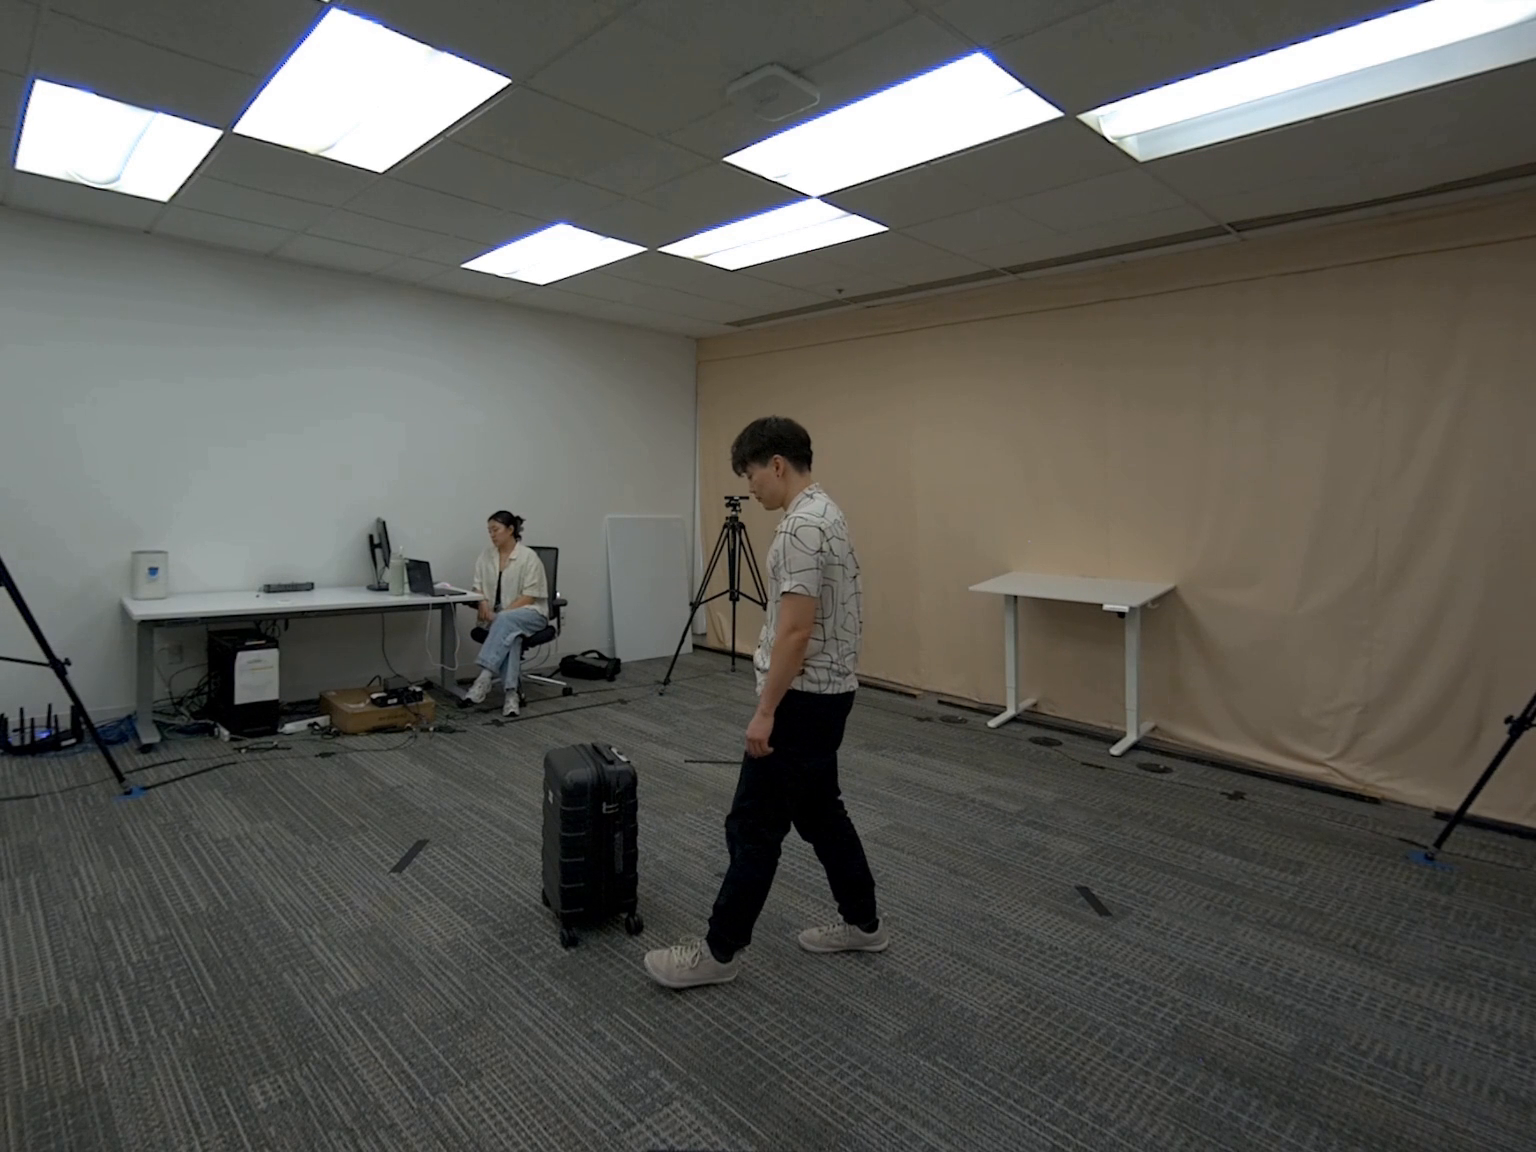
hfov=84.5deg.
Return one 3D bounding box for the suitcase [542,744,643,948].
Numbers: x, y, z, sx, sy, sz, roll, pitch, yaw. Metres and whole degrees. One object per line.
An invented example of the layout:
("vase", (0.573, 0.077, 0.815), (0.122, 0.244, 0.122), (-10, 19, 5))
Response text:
("suitcase", (-0.601, 0.848, 2.771), (0.244, 0.548, 0.383), (0, 4, -23))
